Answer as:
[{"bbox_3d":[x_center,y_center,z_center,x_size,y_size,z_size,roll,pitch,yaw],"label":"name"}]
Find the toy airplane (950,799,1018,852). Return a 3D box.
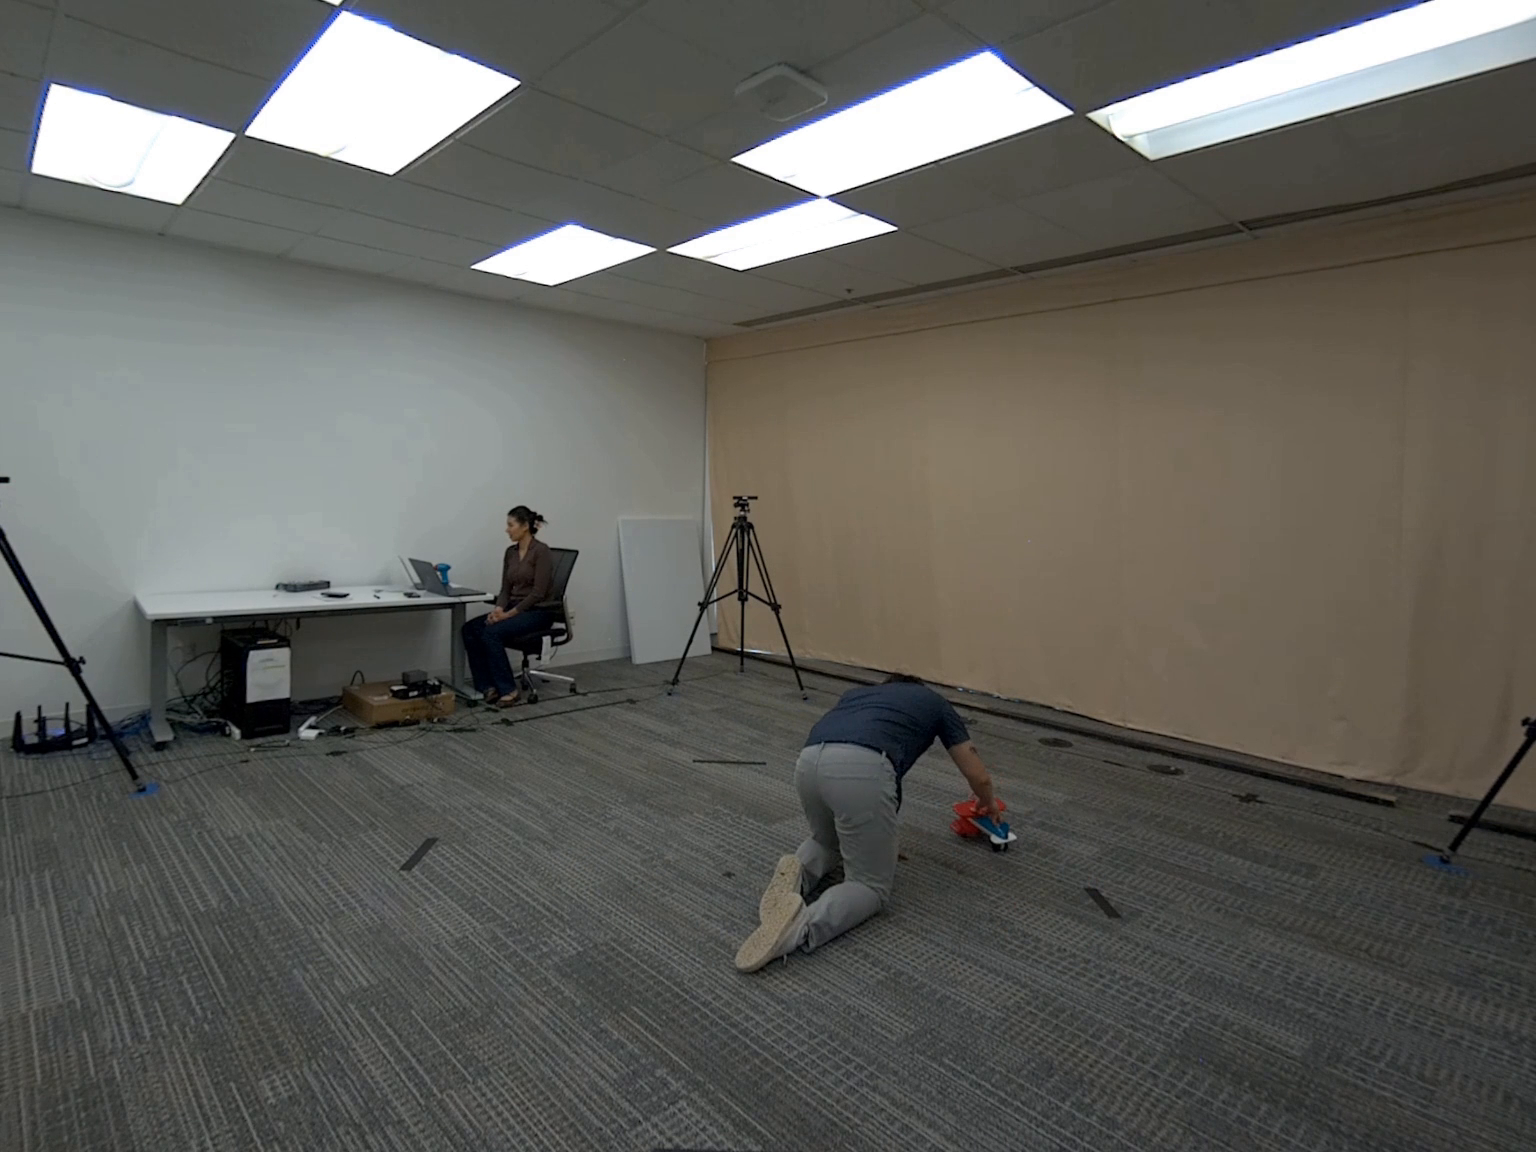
[{"bbox_3d":[0.899,1.024,3.482,0.265,0.156,0.246,4,6,35],"label":"toy airplane"}]
